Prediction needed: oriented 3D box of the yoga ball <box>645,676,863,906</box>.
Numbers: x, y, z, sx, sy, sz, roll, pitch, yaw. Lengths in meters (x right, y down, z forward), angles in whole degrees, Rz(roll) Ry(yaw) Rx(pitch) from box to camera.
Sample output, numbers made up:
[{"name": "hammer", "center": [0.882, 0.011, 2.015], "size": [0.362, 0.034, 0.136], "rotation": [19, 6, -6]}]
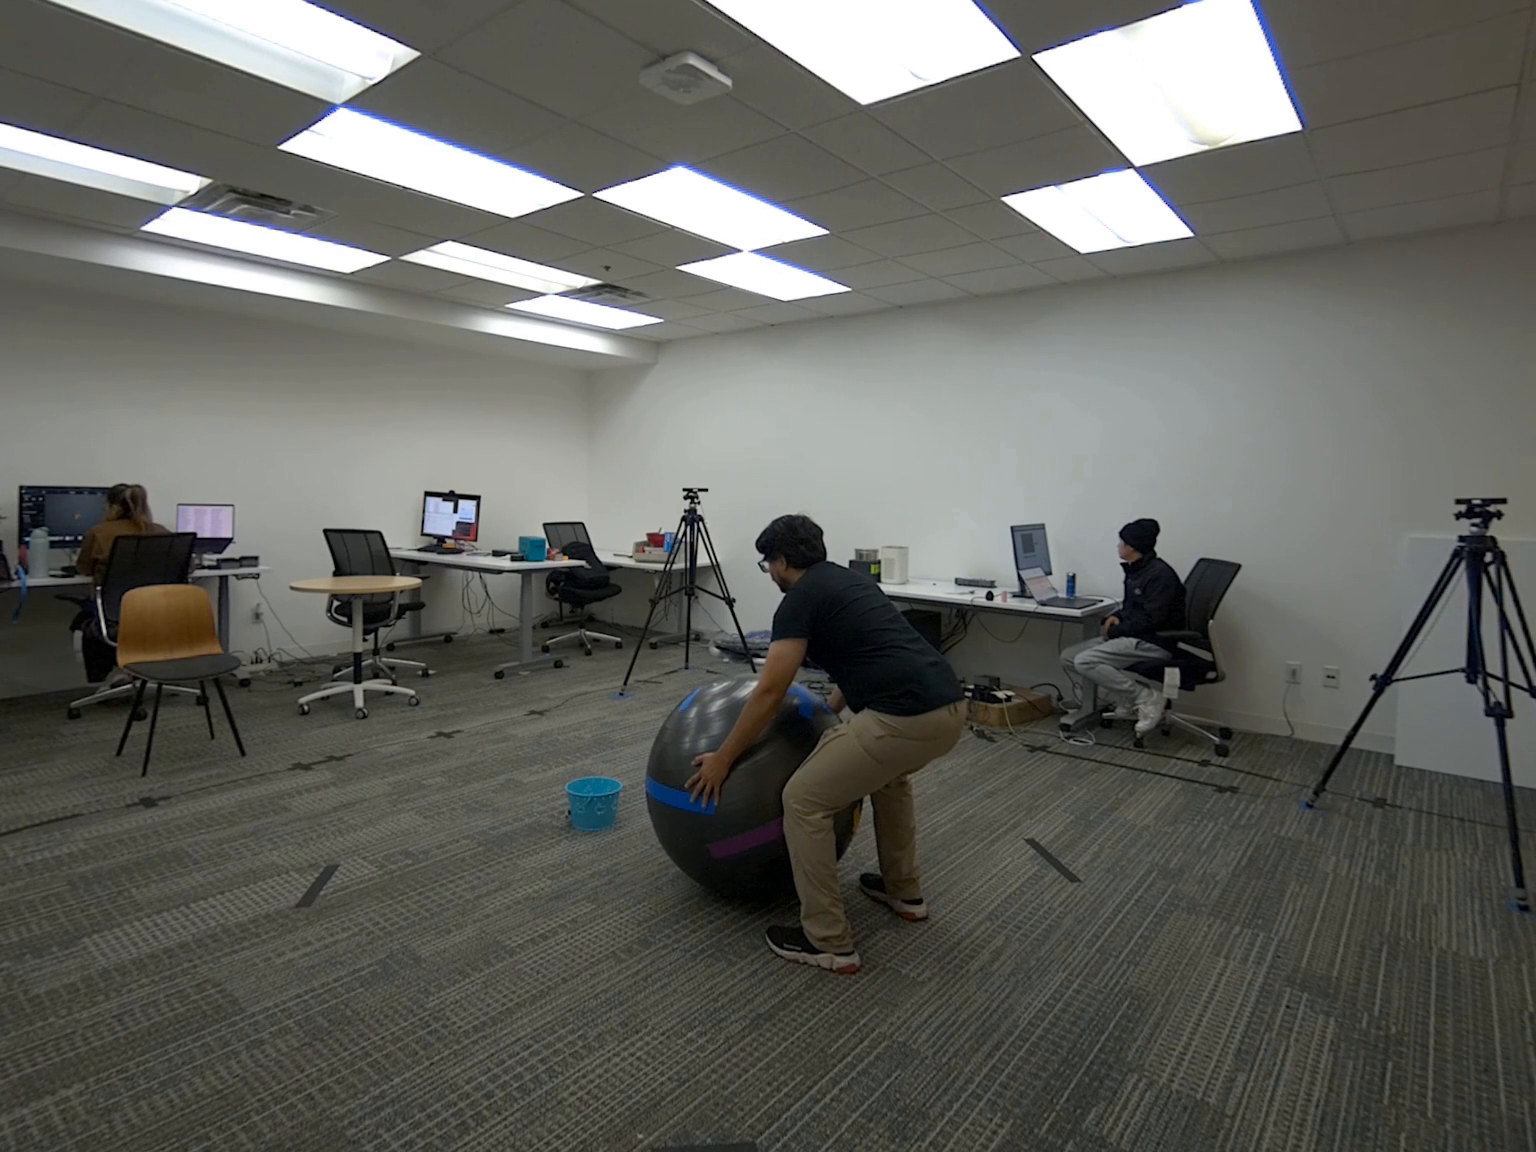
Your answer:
[{"name": "yoga ball", "center": [-0.061, 0.729, 2.974], "size": [0.757, 0.756, 0.761], "rotation": [1, 4, -2]}]
